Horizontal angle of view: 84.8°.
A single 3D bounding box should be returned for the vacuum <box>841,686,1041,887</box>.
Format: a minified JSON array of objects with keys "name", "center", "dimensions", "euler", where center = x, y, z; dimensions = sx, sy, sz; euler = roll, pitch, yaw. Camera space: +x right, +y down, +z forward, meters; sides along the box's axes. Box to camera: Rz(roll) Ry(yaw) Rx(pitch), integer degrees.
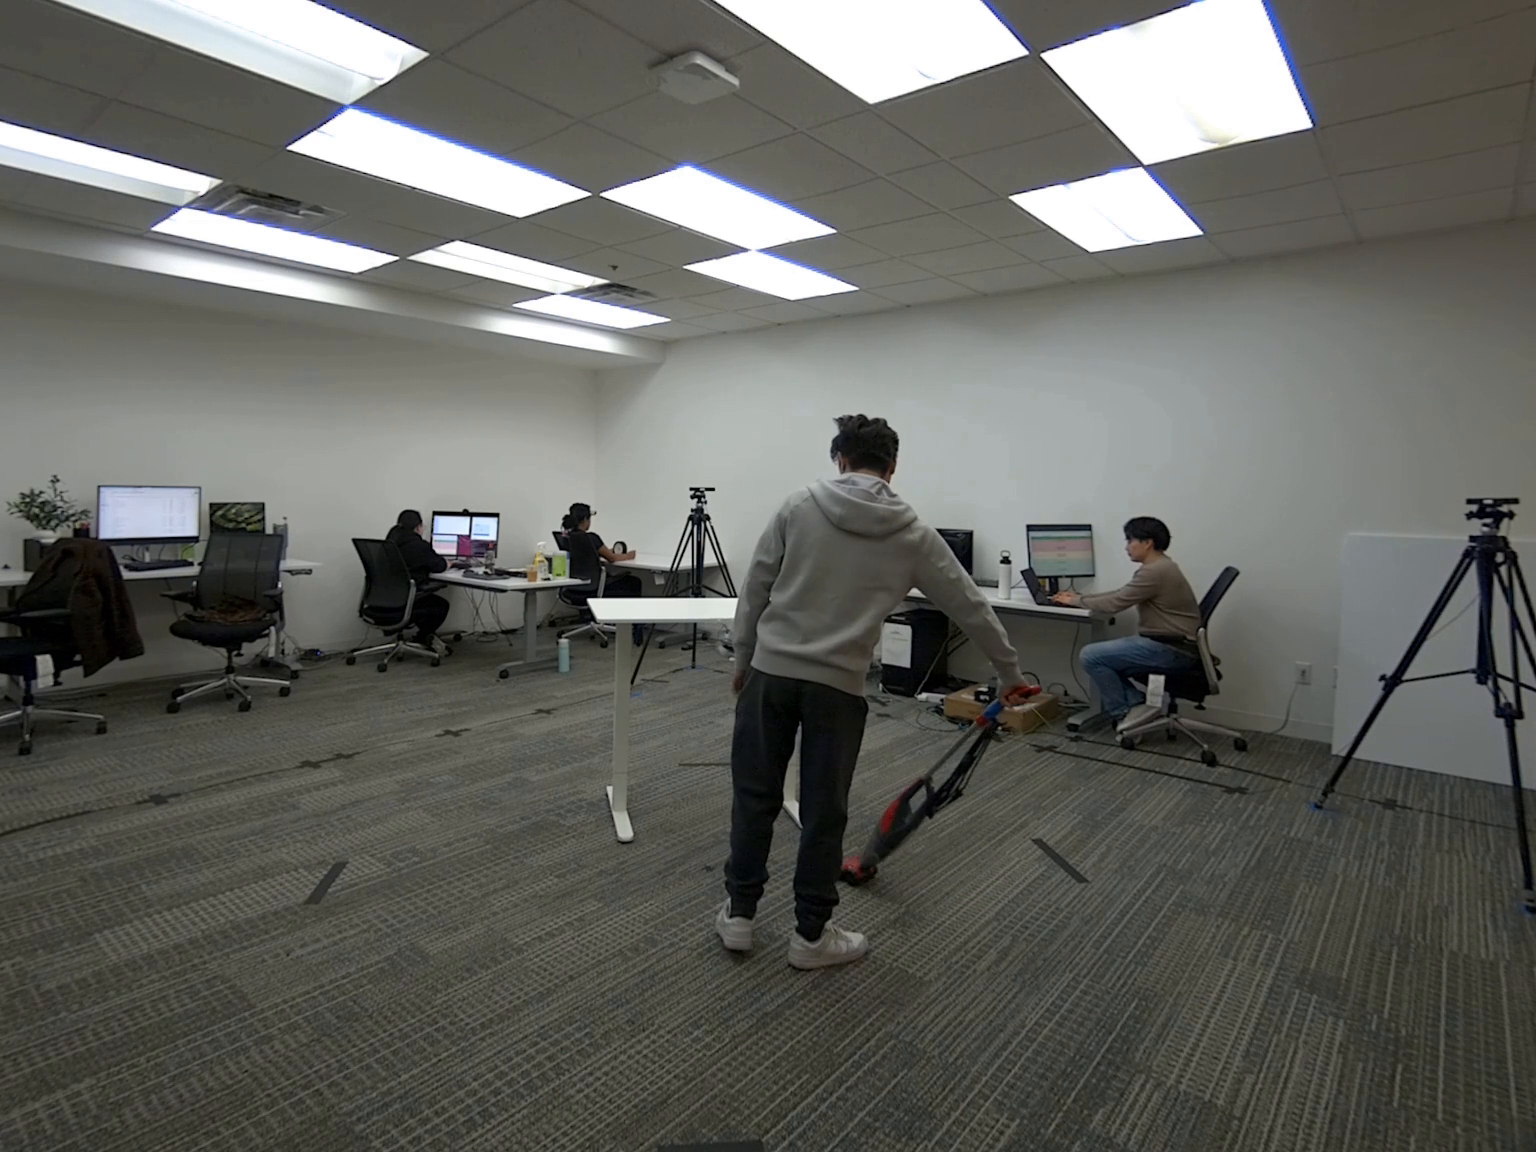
[{"name":"vacuum","center":[0.531,0.705,2.816],"dimensions":[0.245,1.042,0.149],"euler":[-2,47,-43]}]
